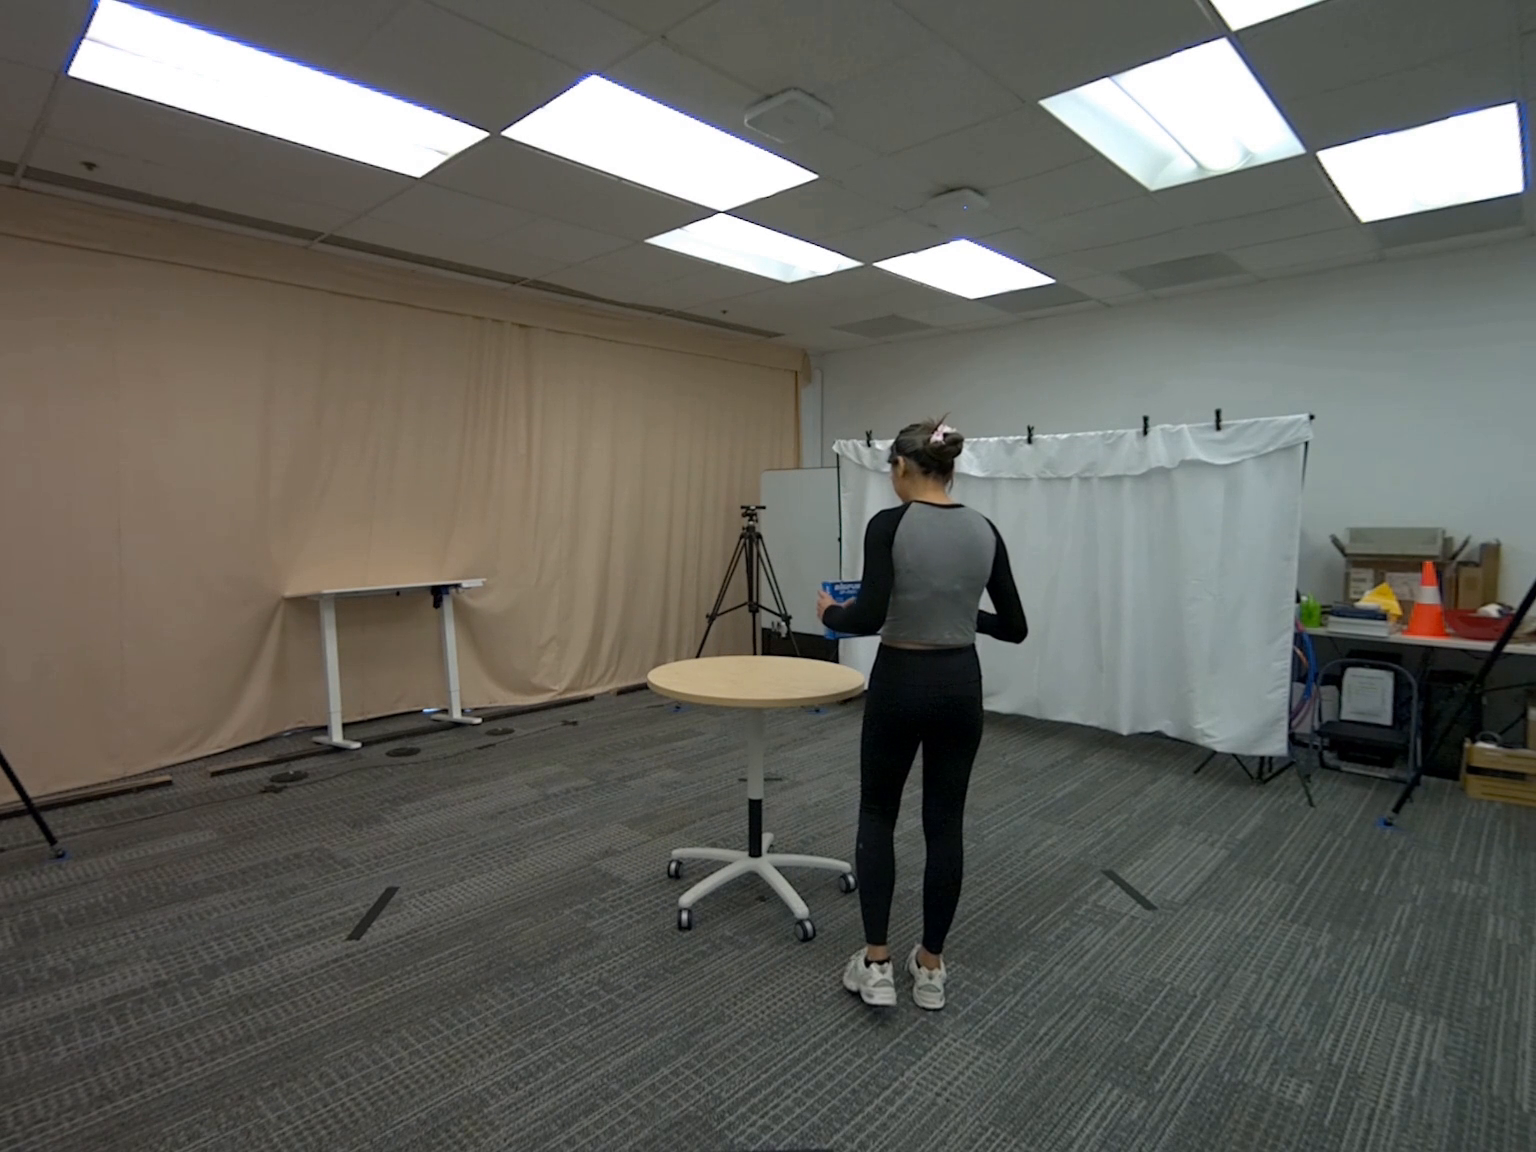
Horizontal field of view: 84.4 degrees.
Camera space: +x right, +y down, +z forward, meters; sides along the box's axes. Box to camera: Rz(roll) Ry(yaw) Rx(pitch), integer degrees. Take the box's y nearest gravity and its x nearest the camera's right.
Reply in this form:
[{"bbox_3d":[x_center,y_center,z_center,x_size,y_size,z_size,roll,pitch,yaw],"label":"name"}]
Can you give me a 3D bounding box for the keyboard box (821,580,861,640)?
[{"bbox_3d":[0.398,0.095,2.598,0.429,0.176,0.060,-4,1,-18],"label":"keyboard box"}]
